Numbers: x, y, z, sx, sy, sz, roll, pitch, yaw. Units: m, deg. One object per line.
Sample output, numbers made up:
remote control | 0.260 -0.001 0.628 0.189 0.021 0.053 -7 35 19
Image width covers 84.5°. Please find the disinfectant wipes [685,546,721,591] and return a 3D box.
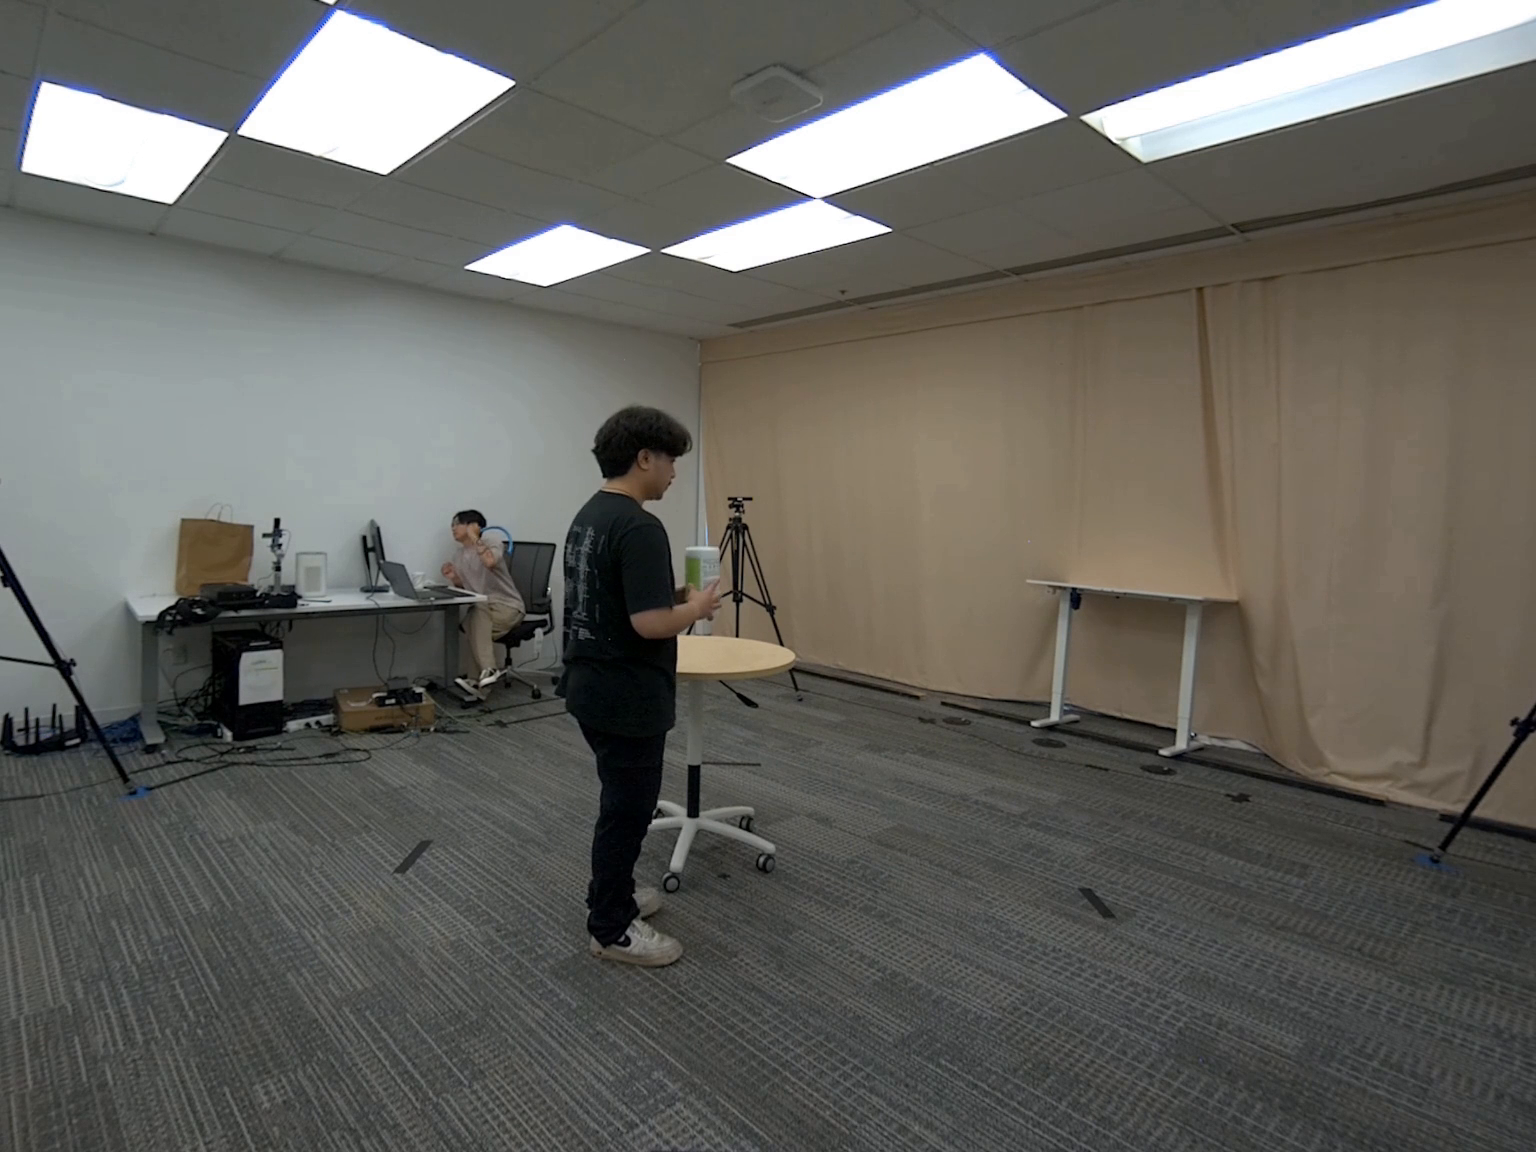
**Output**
disinfectant wipes | -0.210 0.018 2.635 0.118 0.217 0.118 1 3 -1
